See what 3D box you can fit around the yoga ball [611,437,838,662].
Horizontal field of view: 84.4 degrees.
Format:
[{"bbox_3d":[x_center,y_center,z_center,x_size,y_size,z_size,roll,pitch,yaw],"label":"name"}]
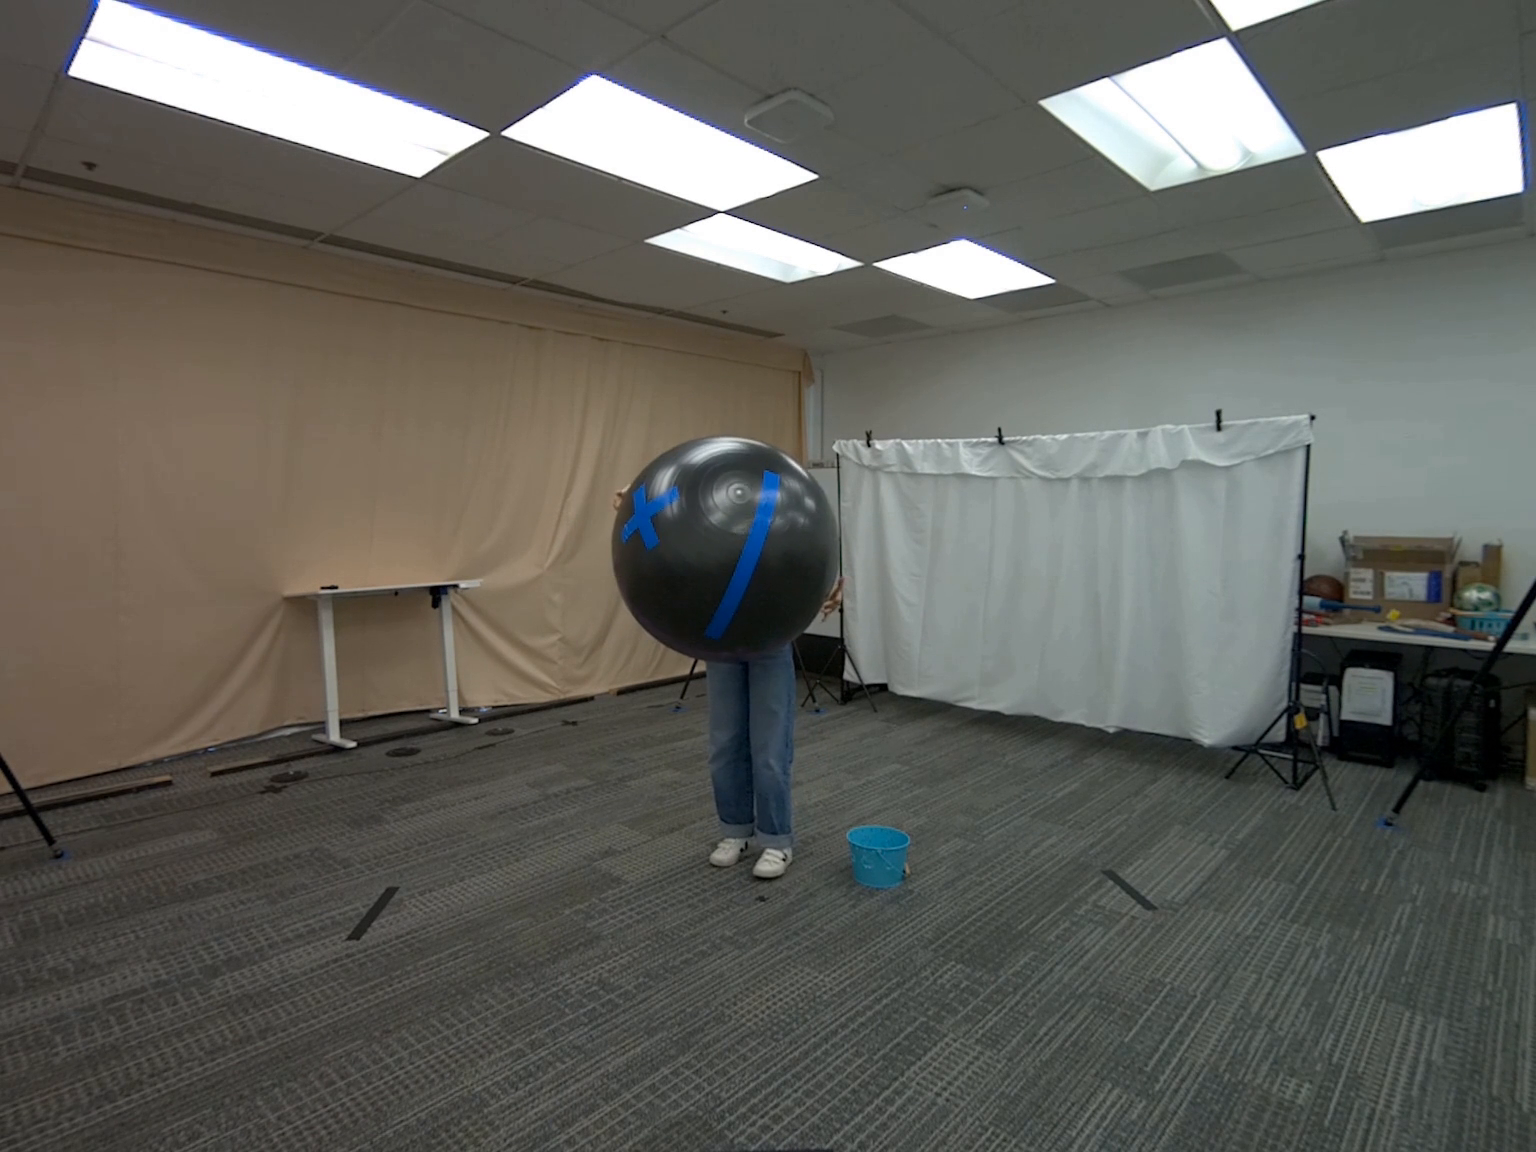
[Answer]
[{"bbox_3d":[-0.145,-0.088,2.821,0.757,0.756,0.760,0,4,-2],"label":"yoga ball"}]
